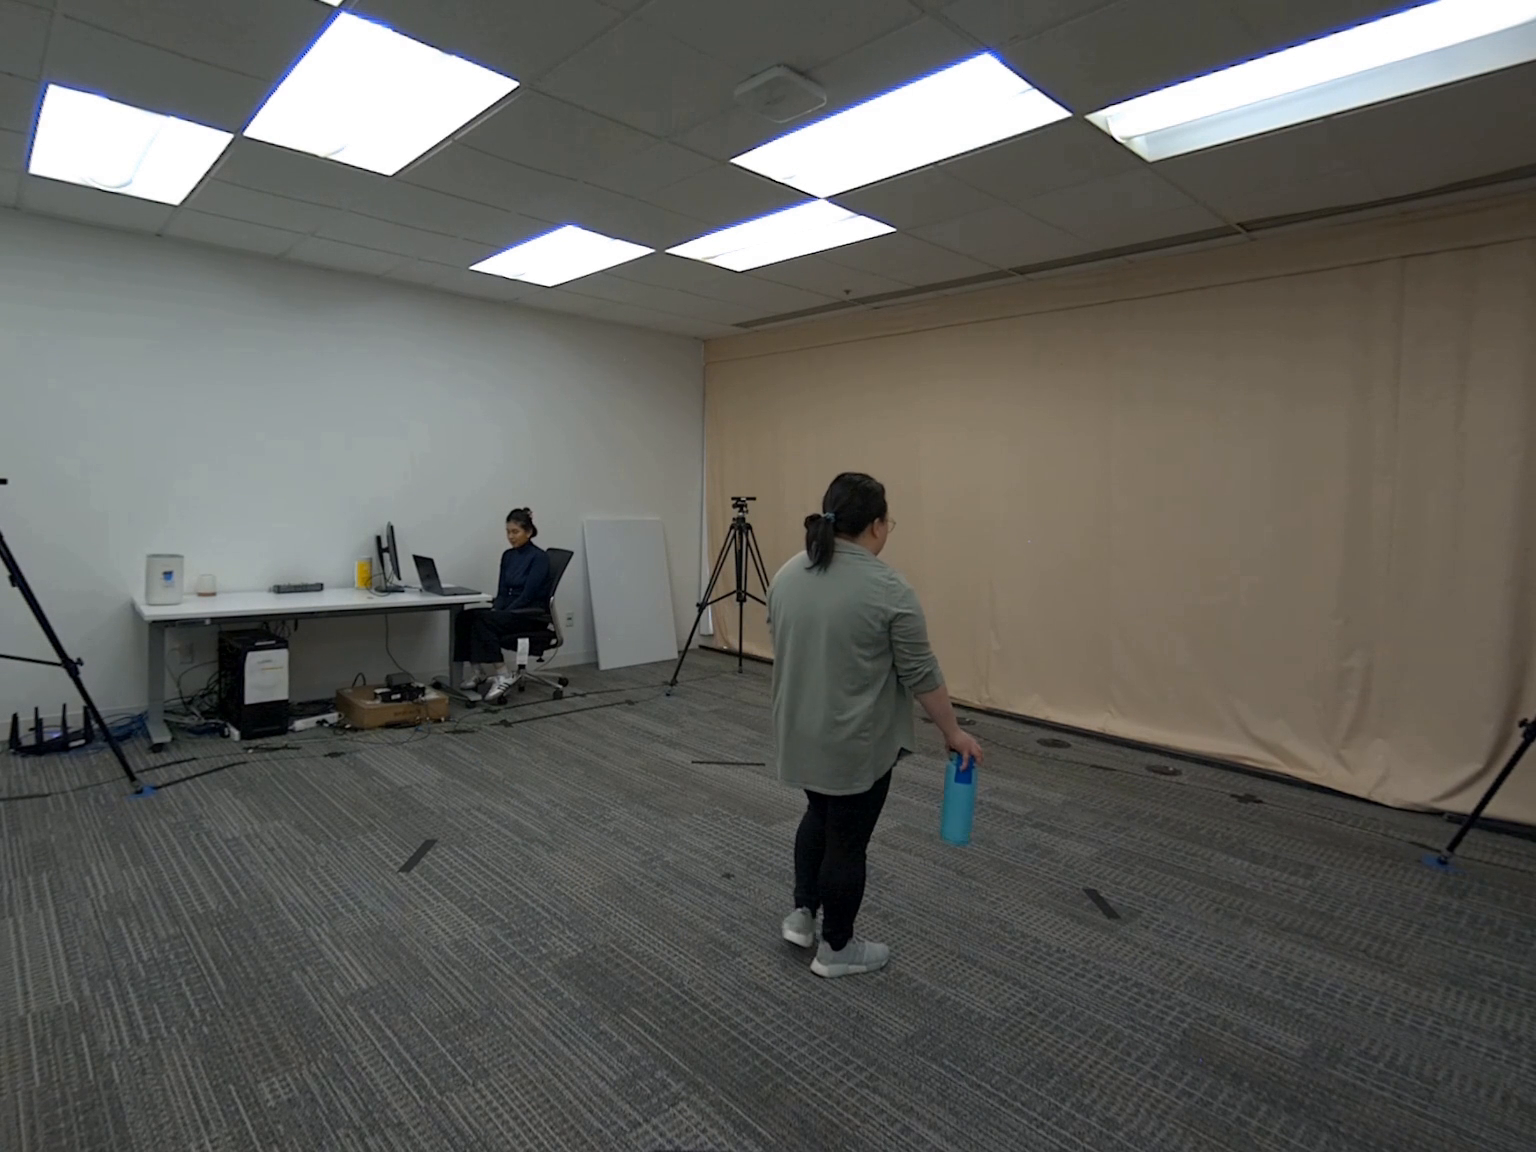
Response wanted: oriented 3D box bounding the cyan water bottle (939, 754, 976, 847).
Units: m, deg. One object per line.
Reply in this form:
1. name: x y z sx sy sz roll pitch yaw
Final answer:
1. cyan water bottle: 0.536 0.631 2.416 0.092 0.283 0.092 8 0 -1
